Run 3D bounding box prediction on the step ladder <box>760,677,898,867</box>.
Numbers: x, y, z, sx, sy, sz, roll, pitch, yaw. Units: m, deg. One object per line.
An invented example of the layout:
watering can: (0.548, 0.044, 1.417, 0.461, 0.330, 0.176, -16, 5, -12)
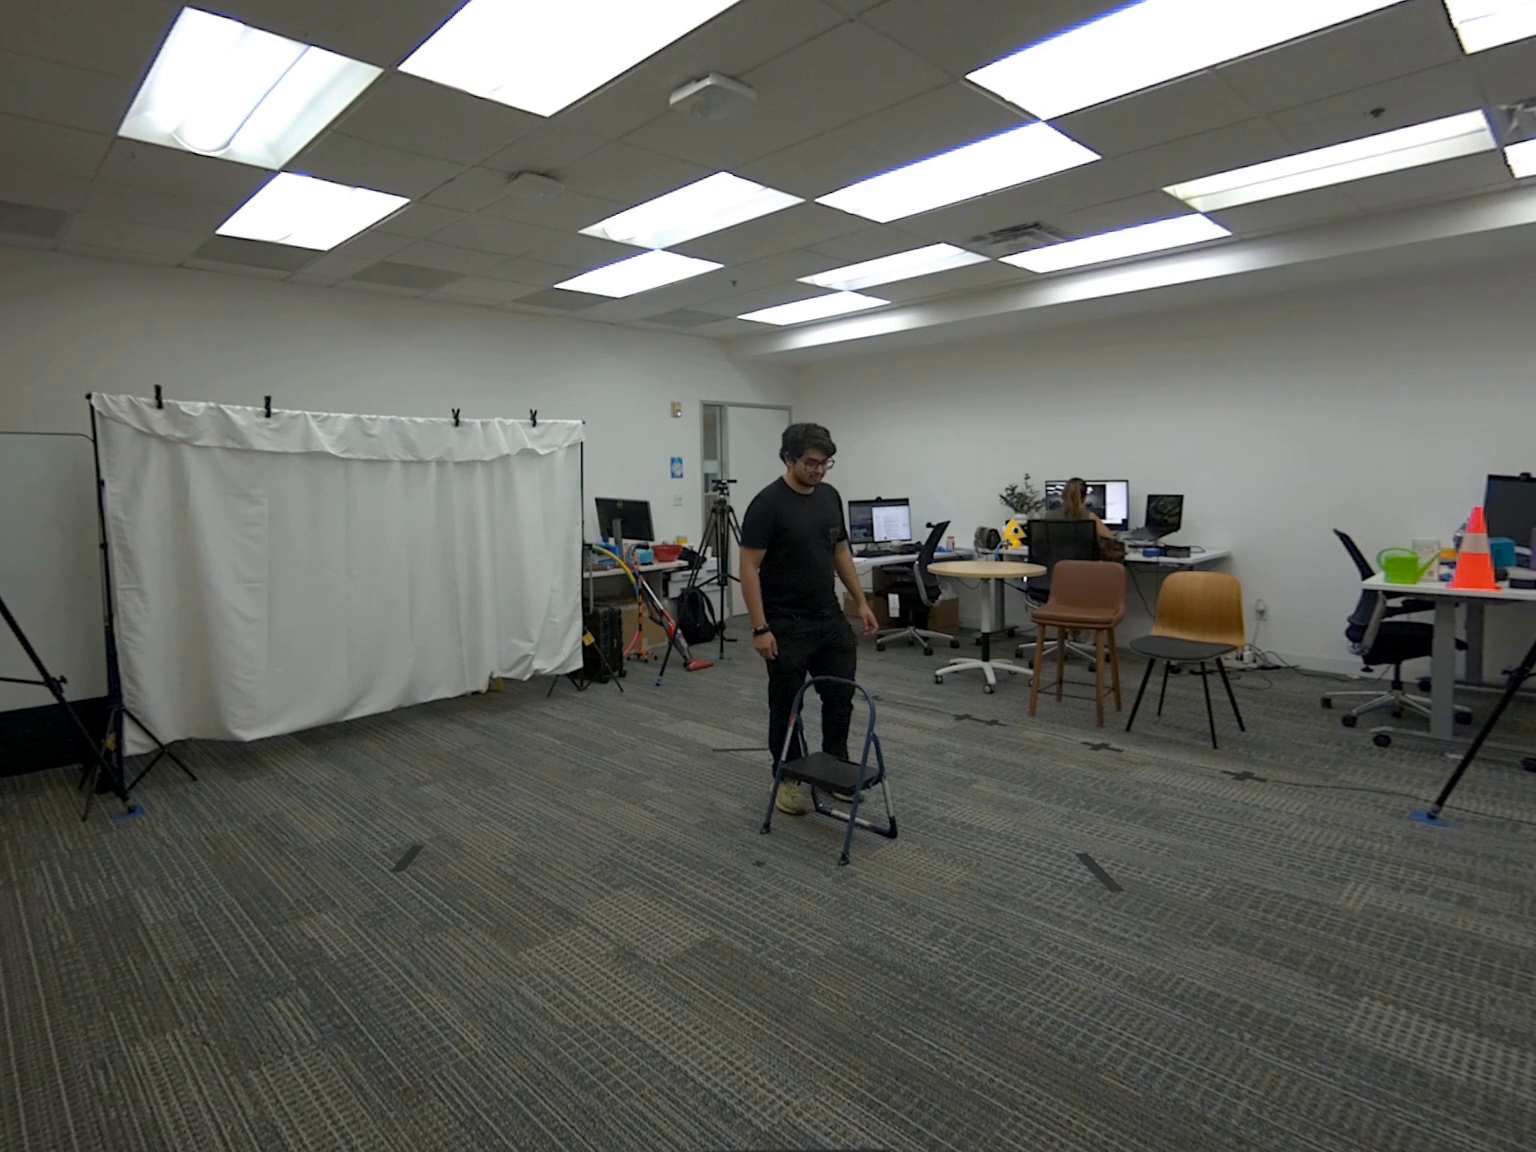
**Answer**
step ladder: (0.238, 0.719, 3.327, 0.340, 0.603, 0.444, -5, 7, -44)
